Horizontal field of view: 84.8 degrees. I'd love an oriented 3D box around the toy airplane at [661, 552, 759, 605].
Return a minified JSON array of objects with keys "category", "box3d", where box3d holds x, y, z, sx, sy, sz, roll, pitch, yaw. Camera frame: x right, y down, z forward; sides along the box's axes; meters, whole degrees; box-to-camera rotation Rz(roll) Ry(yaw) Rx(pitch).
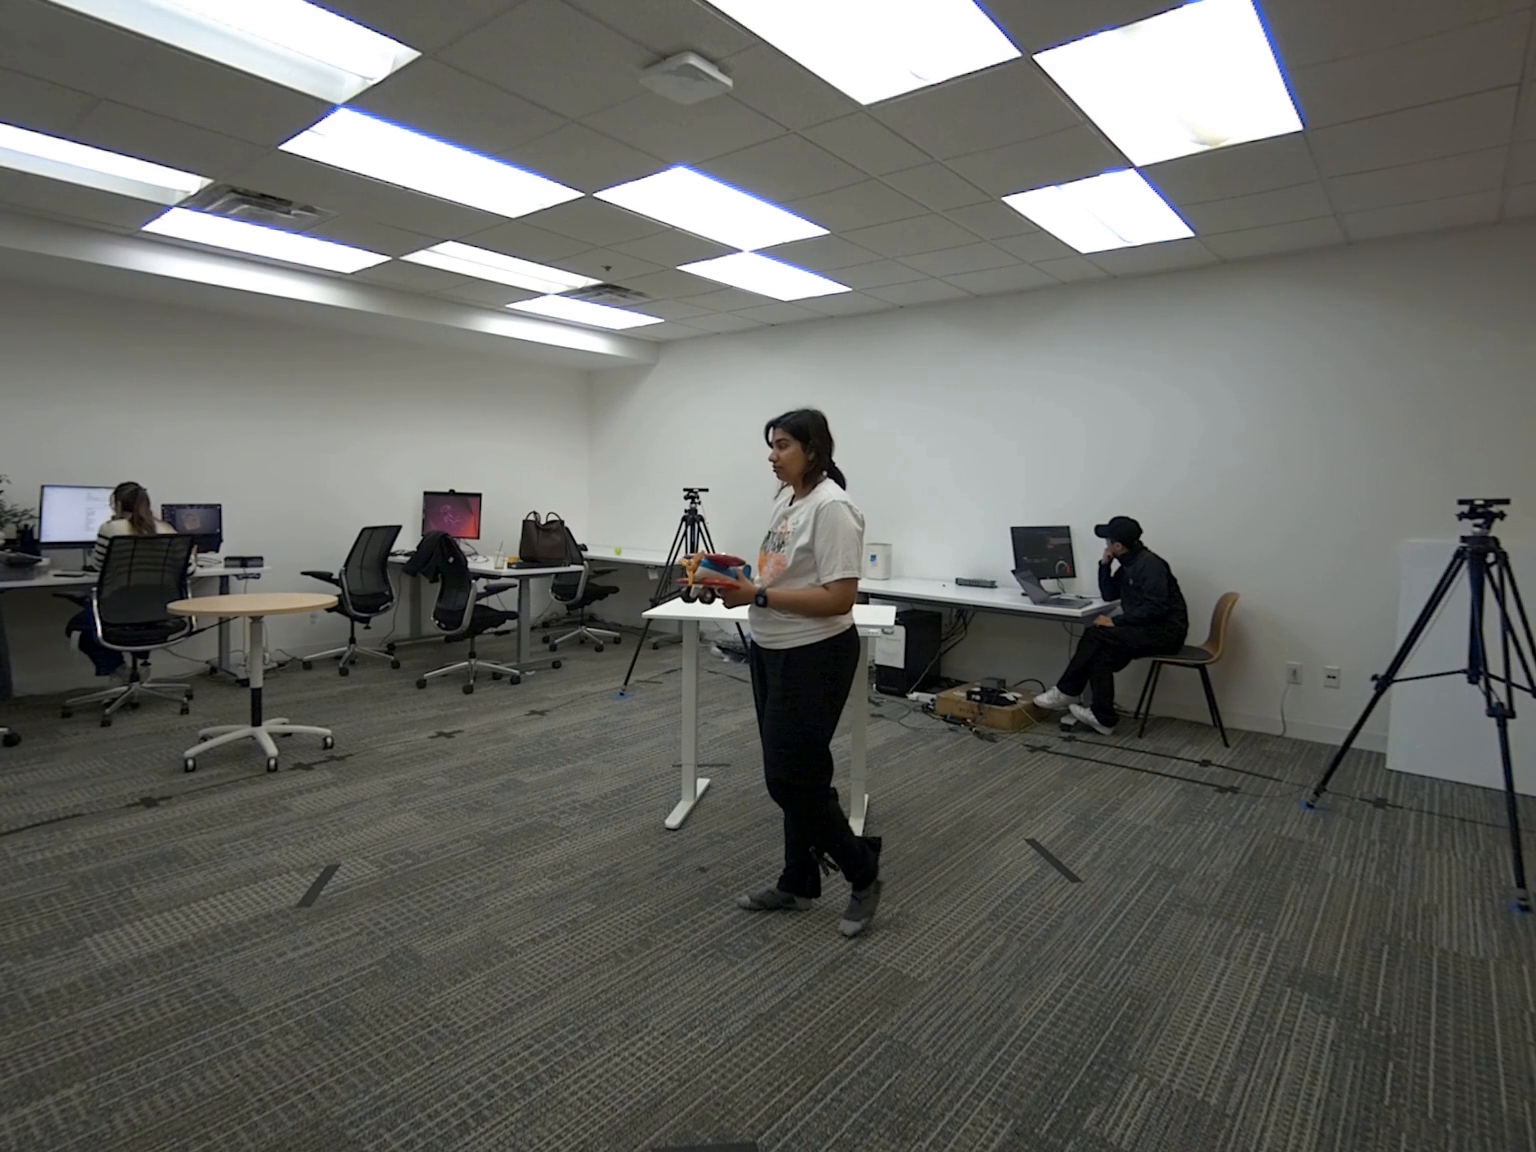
[{"category":"toy airplane","box3d":[-0.171,0.008,2.685,0.256,0.157,0.253,1,-2,19]}]
